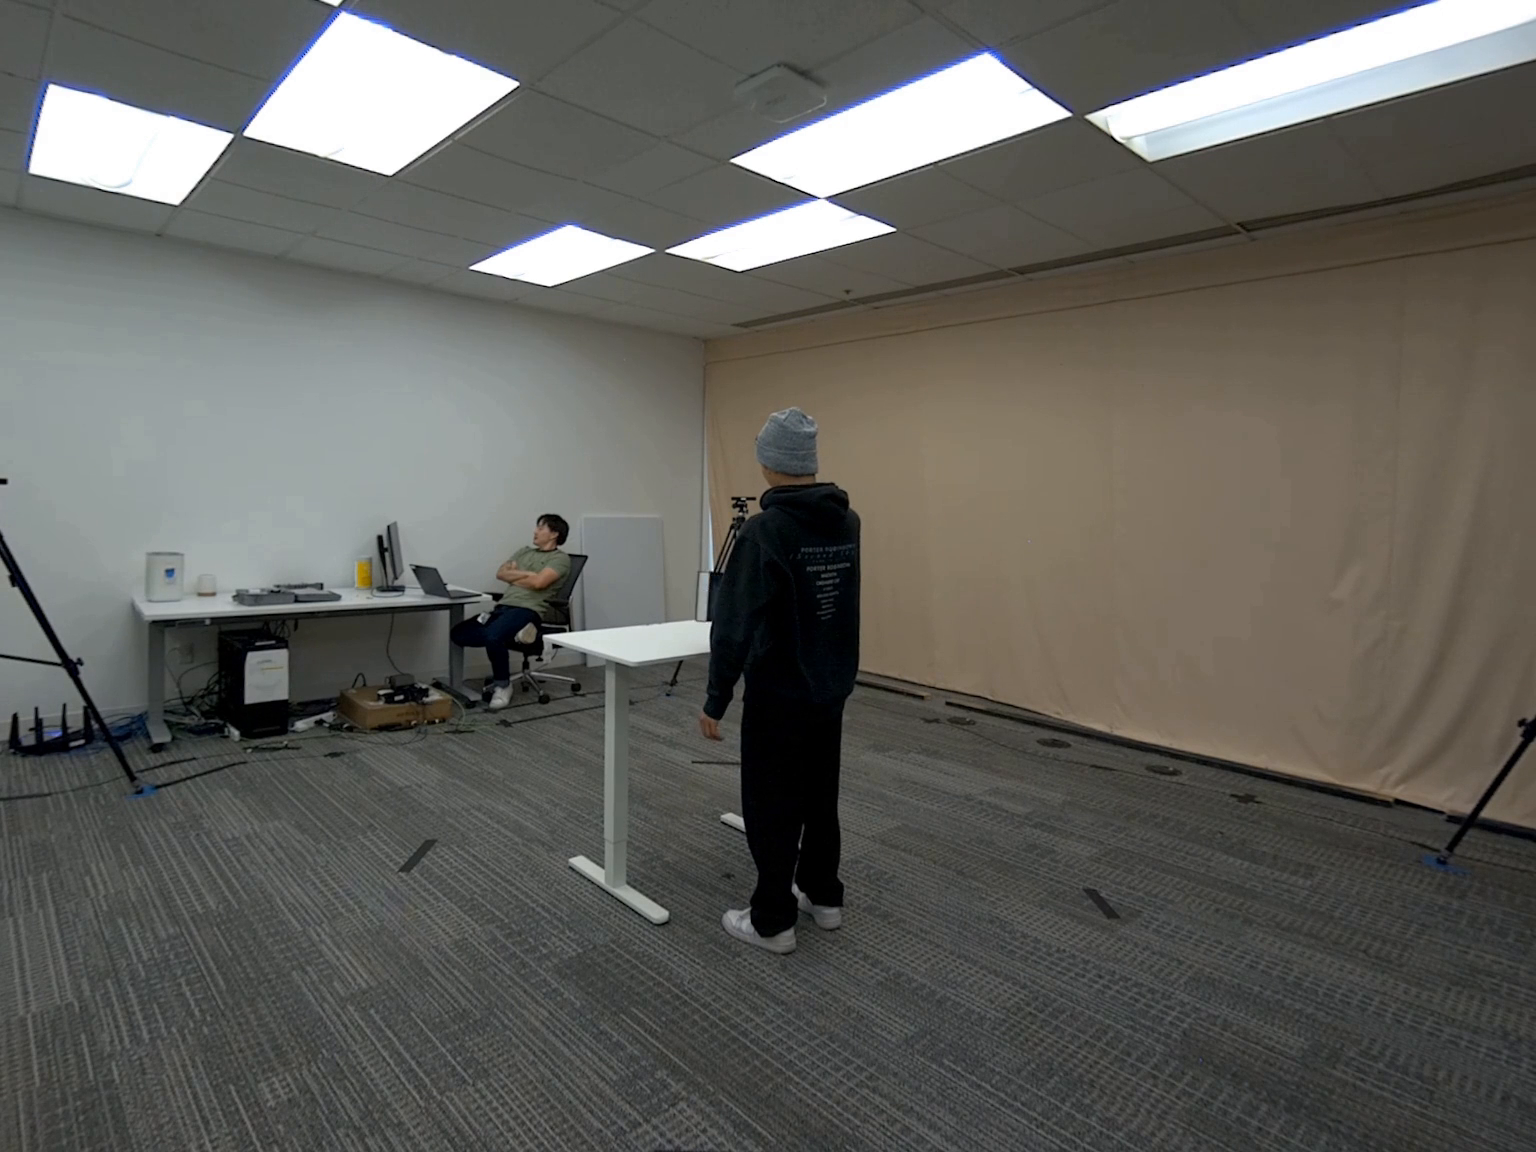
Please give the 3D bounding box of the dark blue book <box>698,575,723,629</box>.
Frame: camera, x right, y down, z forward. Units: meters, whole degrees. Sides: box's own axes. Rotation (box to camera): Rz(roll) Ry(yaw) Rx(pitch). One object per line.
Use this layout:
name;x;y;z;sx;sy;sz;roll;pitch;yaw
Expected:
dark blue book;-0.148;0.084;2.780;0.046;0.164;0.240;1;-2;24
